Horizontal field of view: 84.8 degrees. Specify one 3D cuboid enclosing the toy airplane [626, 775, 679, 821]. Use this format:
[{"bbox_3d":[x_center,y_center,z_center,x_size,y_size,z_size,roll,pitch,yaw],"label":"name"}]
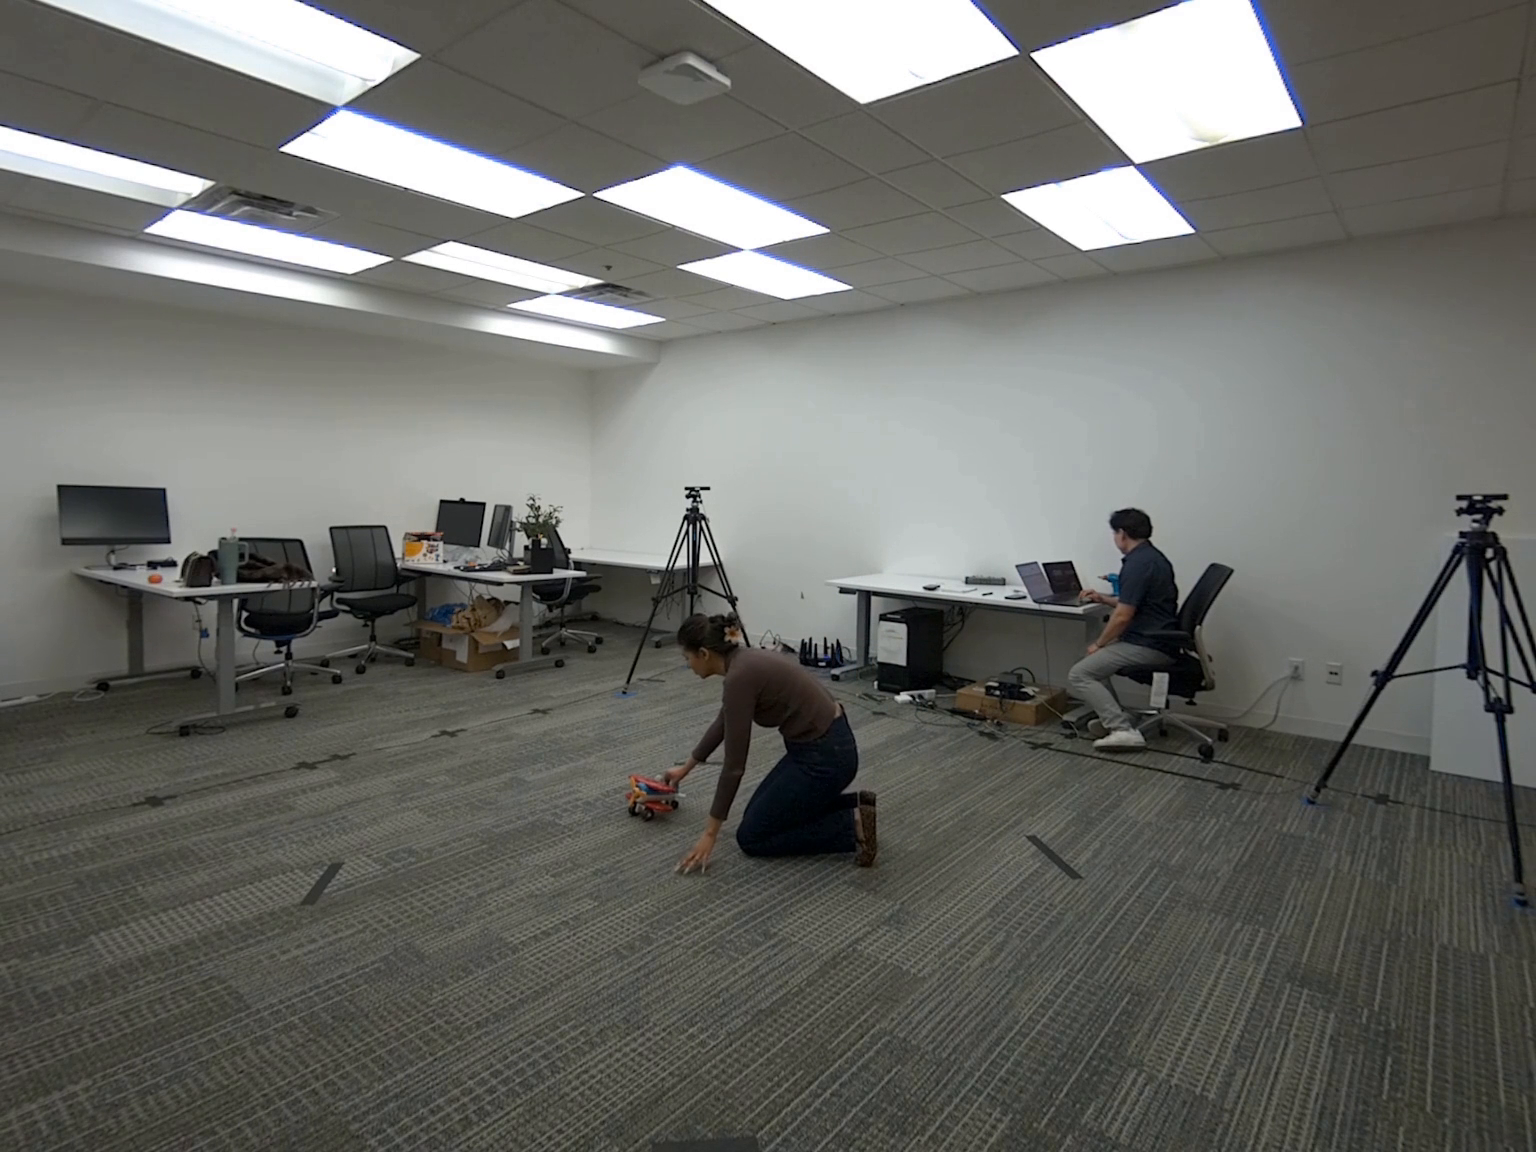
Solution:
[{"bbox_3d":[-0.507,0.934,3.643,0.255,0.156,0.256,1,6,16],"label":"toy airplane"}]
